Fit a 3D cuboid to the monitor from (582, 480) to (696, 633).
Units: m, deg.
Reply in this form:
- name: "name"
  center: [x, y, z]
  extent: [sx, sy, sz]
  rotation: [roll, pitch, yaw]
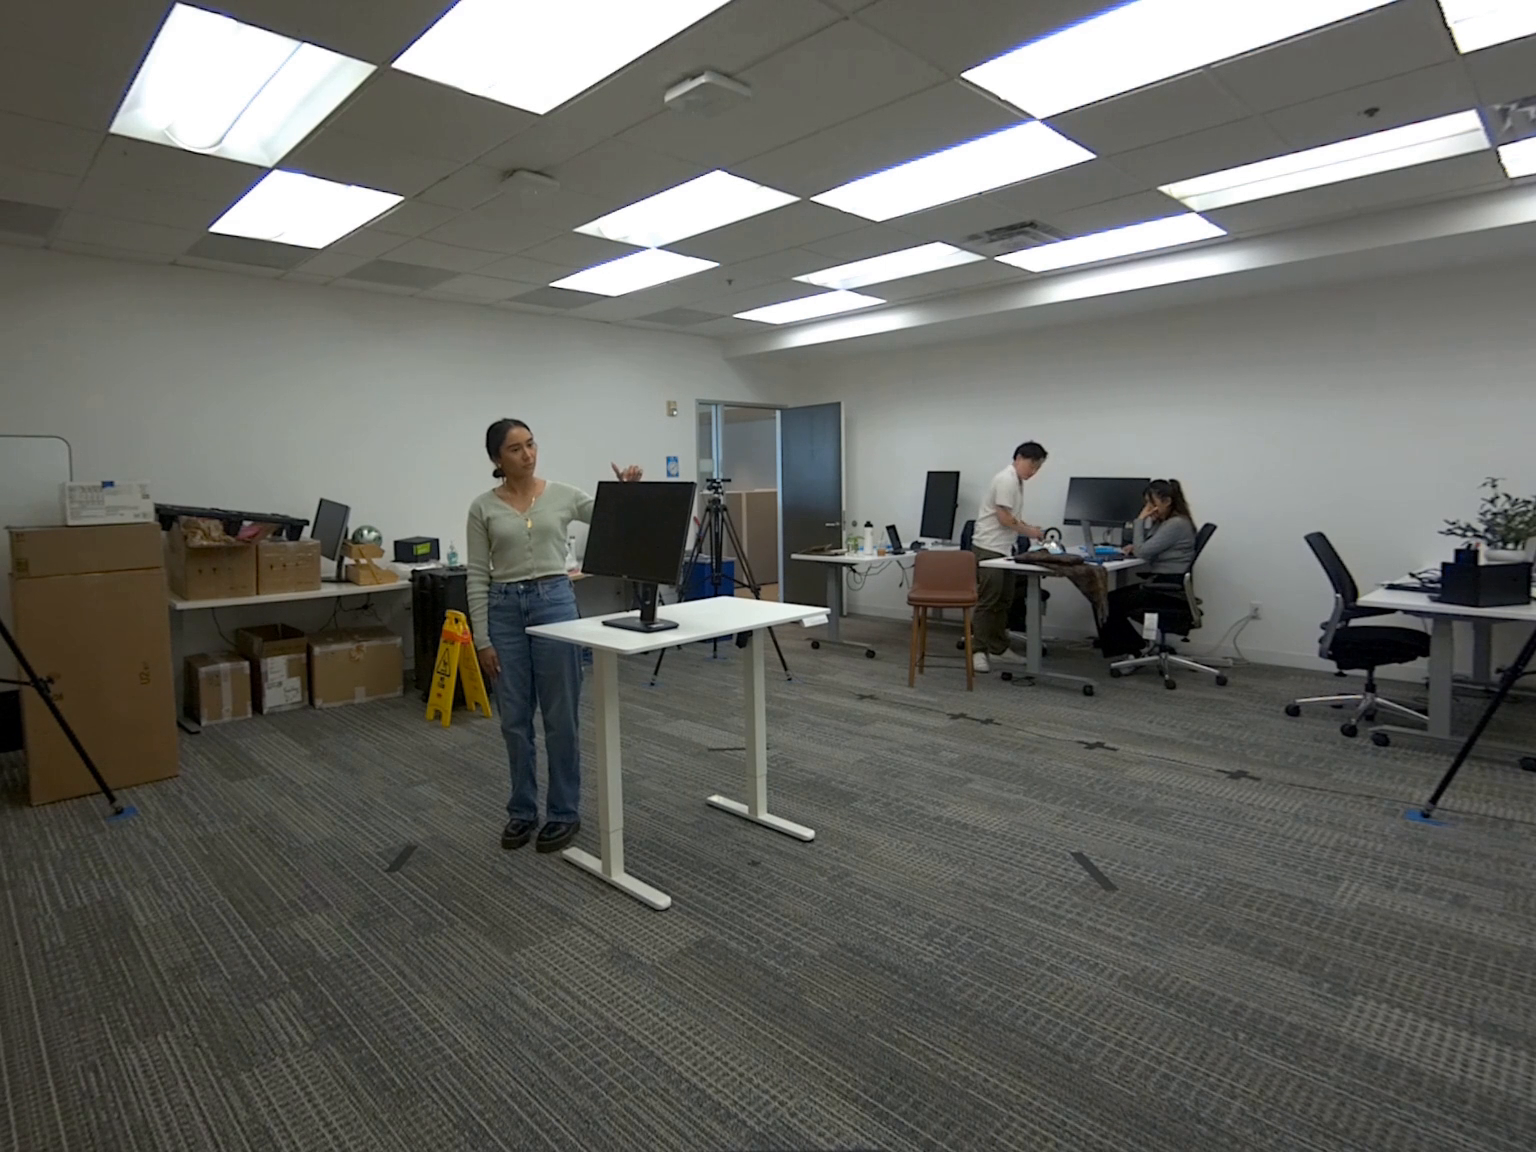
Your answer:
- name: "monitor"
  center: [-0.444, -0.073, 3.031]
  extent: [0.556, 0.521, 0.182]
  rotation: [4, 4, 42]
